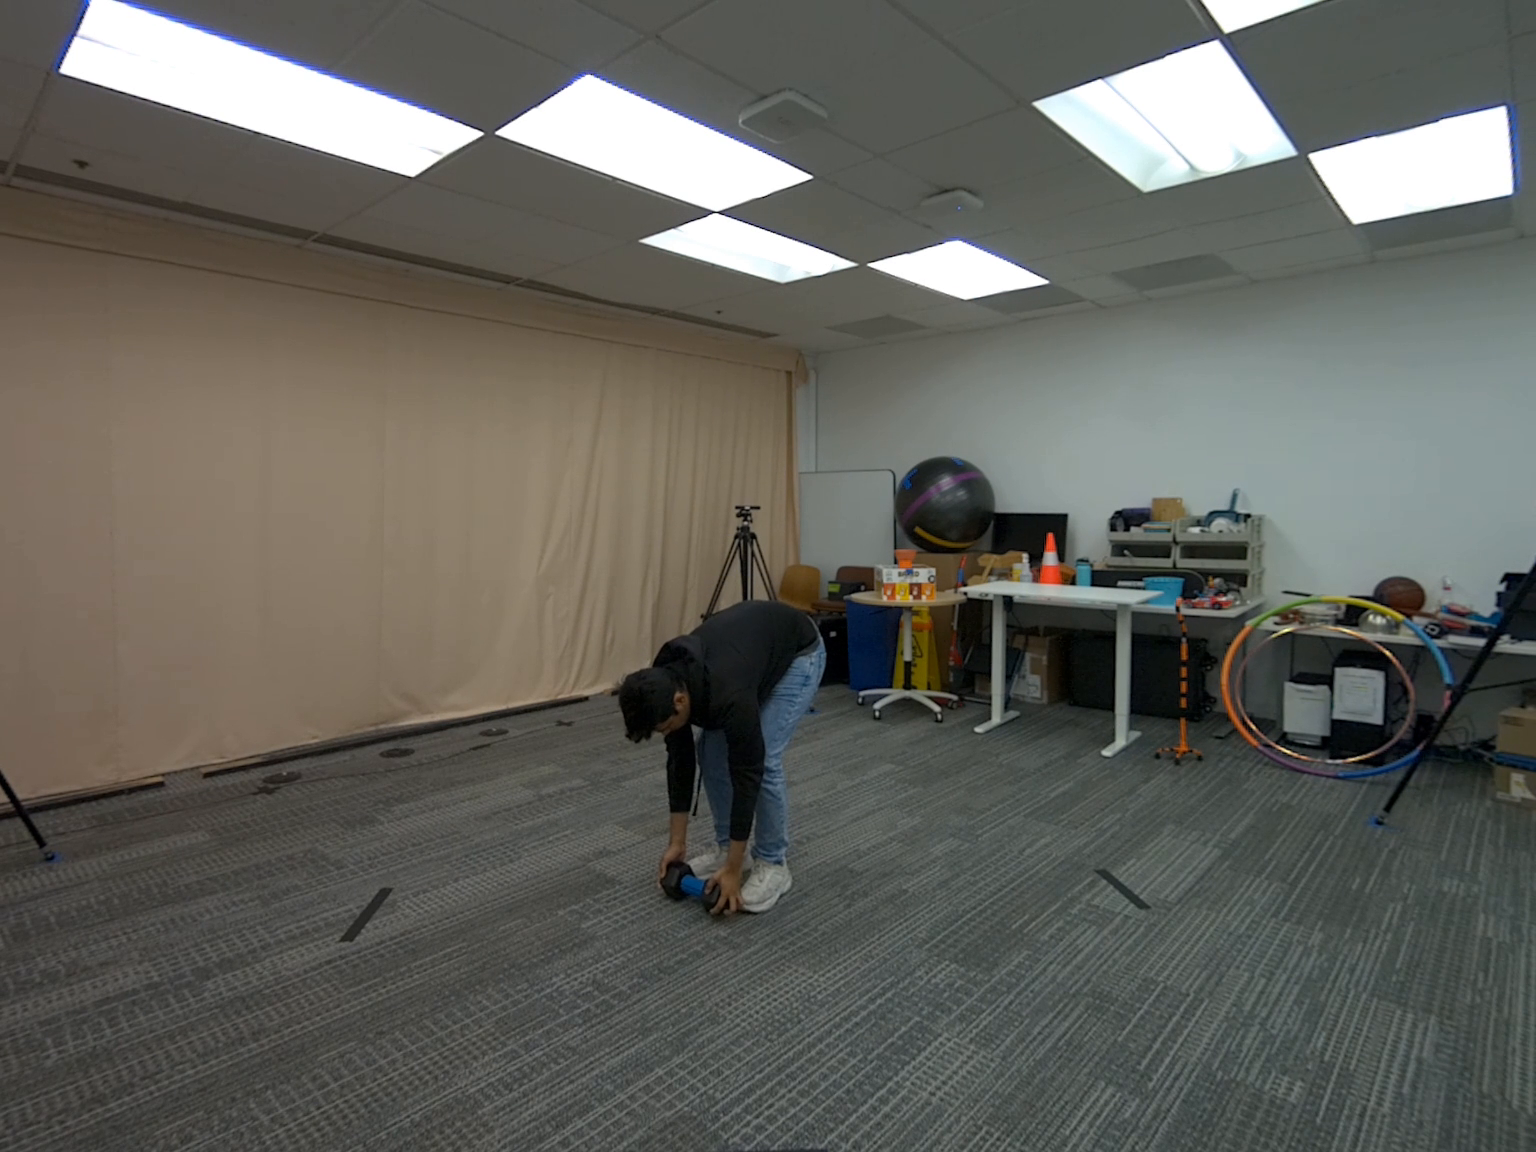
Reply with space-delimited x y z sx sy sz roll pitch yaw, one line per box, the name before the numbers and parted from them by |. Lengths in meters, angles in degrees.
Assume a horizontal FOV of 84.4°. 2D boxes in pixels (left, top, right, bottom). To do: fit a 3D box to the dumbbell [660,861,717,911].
dumbbell | -0.241 1.079 2.932 0.119 0.109 0.303 2 -1 -42
